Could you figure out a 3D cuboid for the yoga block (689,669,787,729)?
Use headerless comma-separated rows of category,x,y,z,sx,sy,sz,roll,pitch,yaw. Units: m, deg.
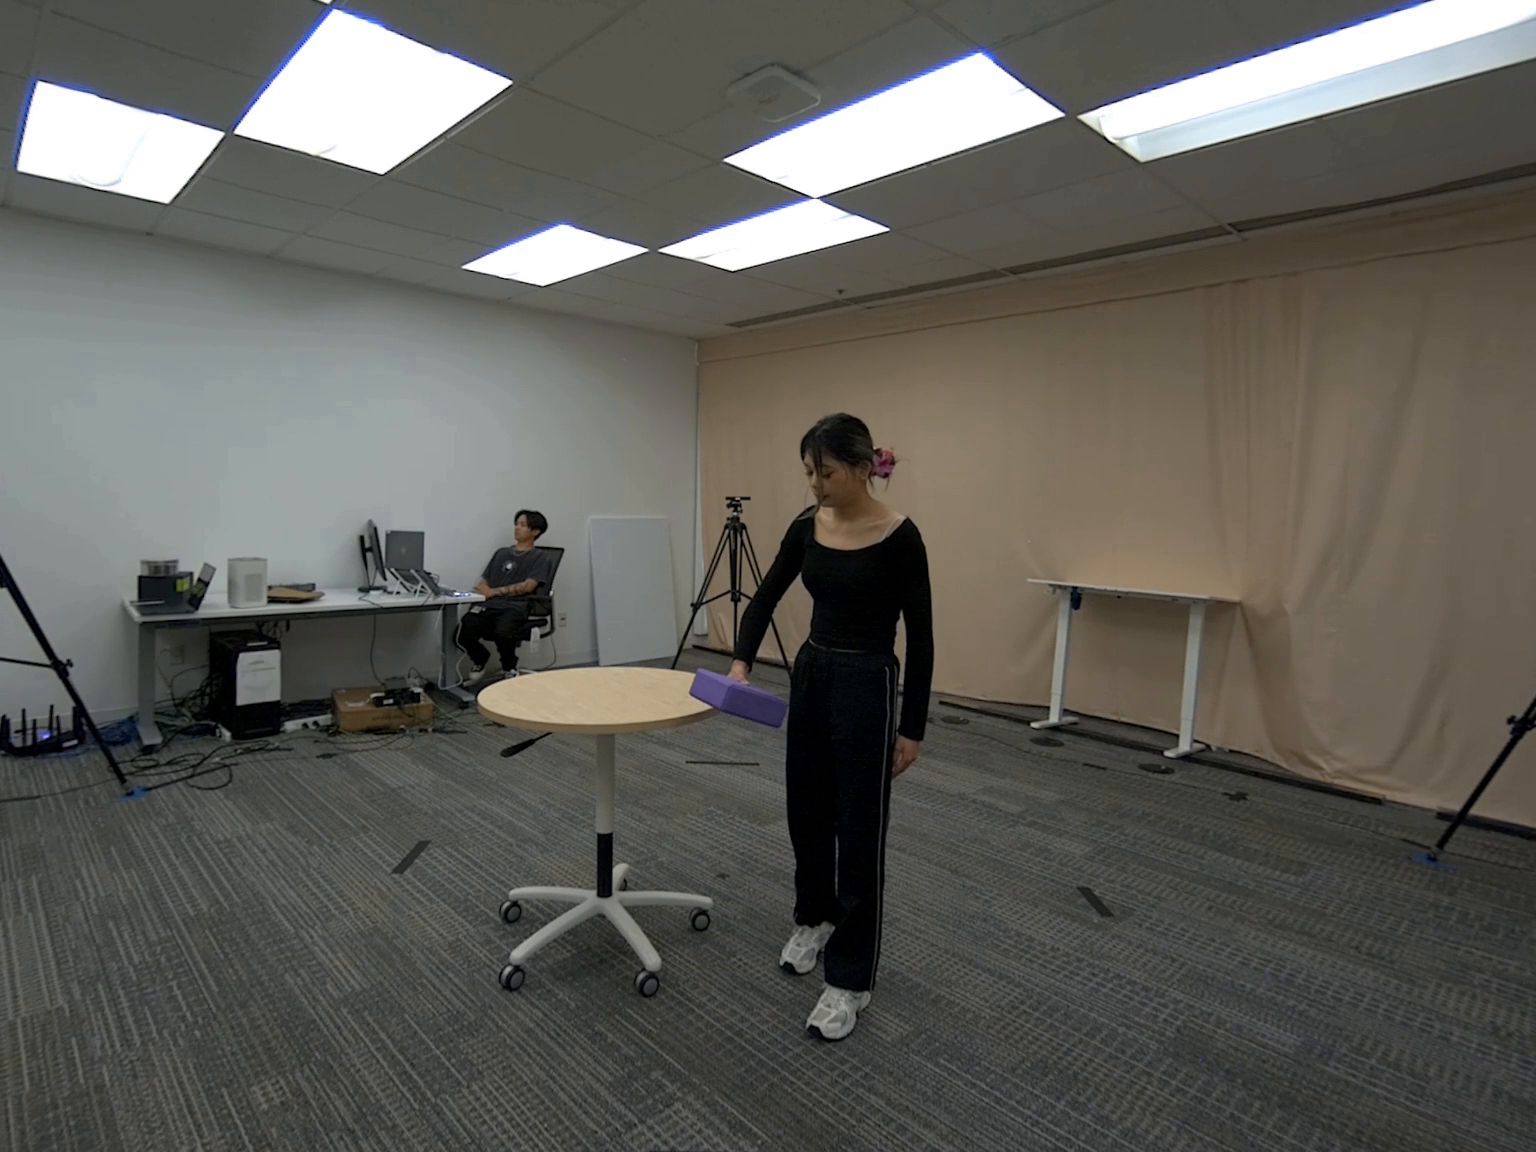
yoga block,-0.073,0.314,2.224,0.153,0.076,0.222,15,-7,45
